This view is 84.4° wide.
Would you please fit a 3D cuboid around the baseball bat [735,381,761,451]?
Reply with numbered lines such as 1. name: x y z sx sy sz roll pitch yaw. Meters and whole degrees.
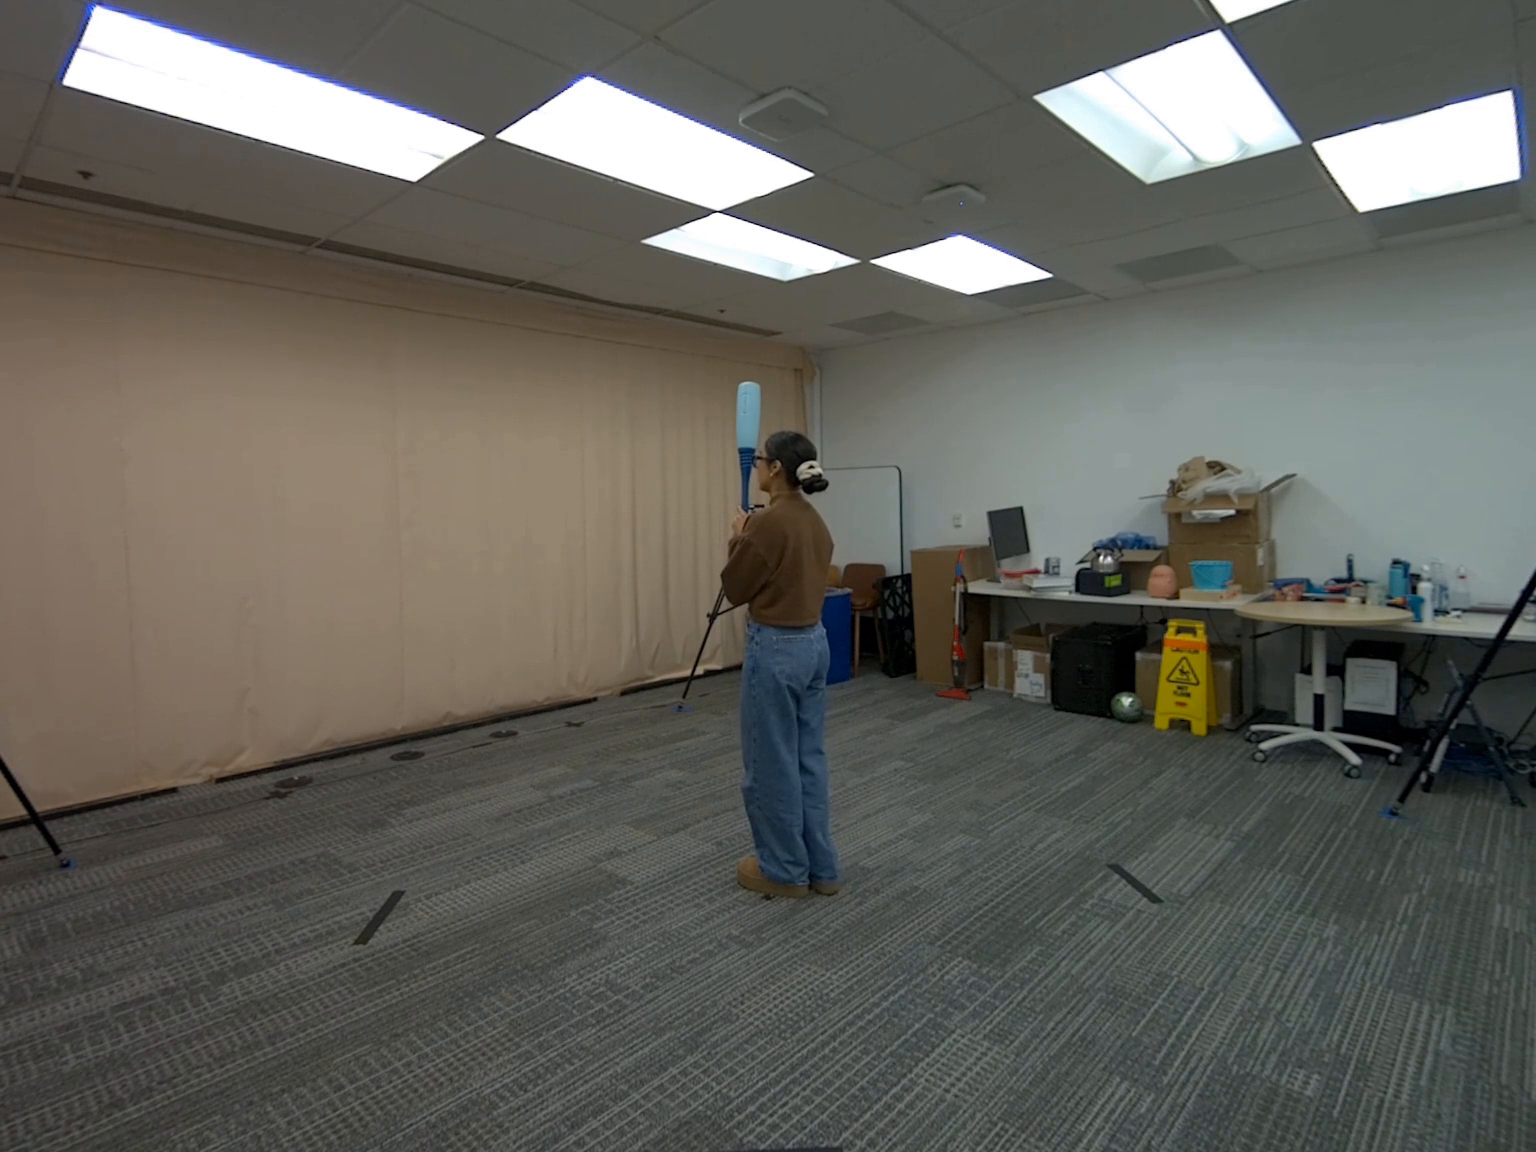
1. baseball bat: -0.073 -0.452 3.137 0.089 0.545 0.089 1 -6 -2
